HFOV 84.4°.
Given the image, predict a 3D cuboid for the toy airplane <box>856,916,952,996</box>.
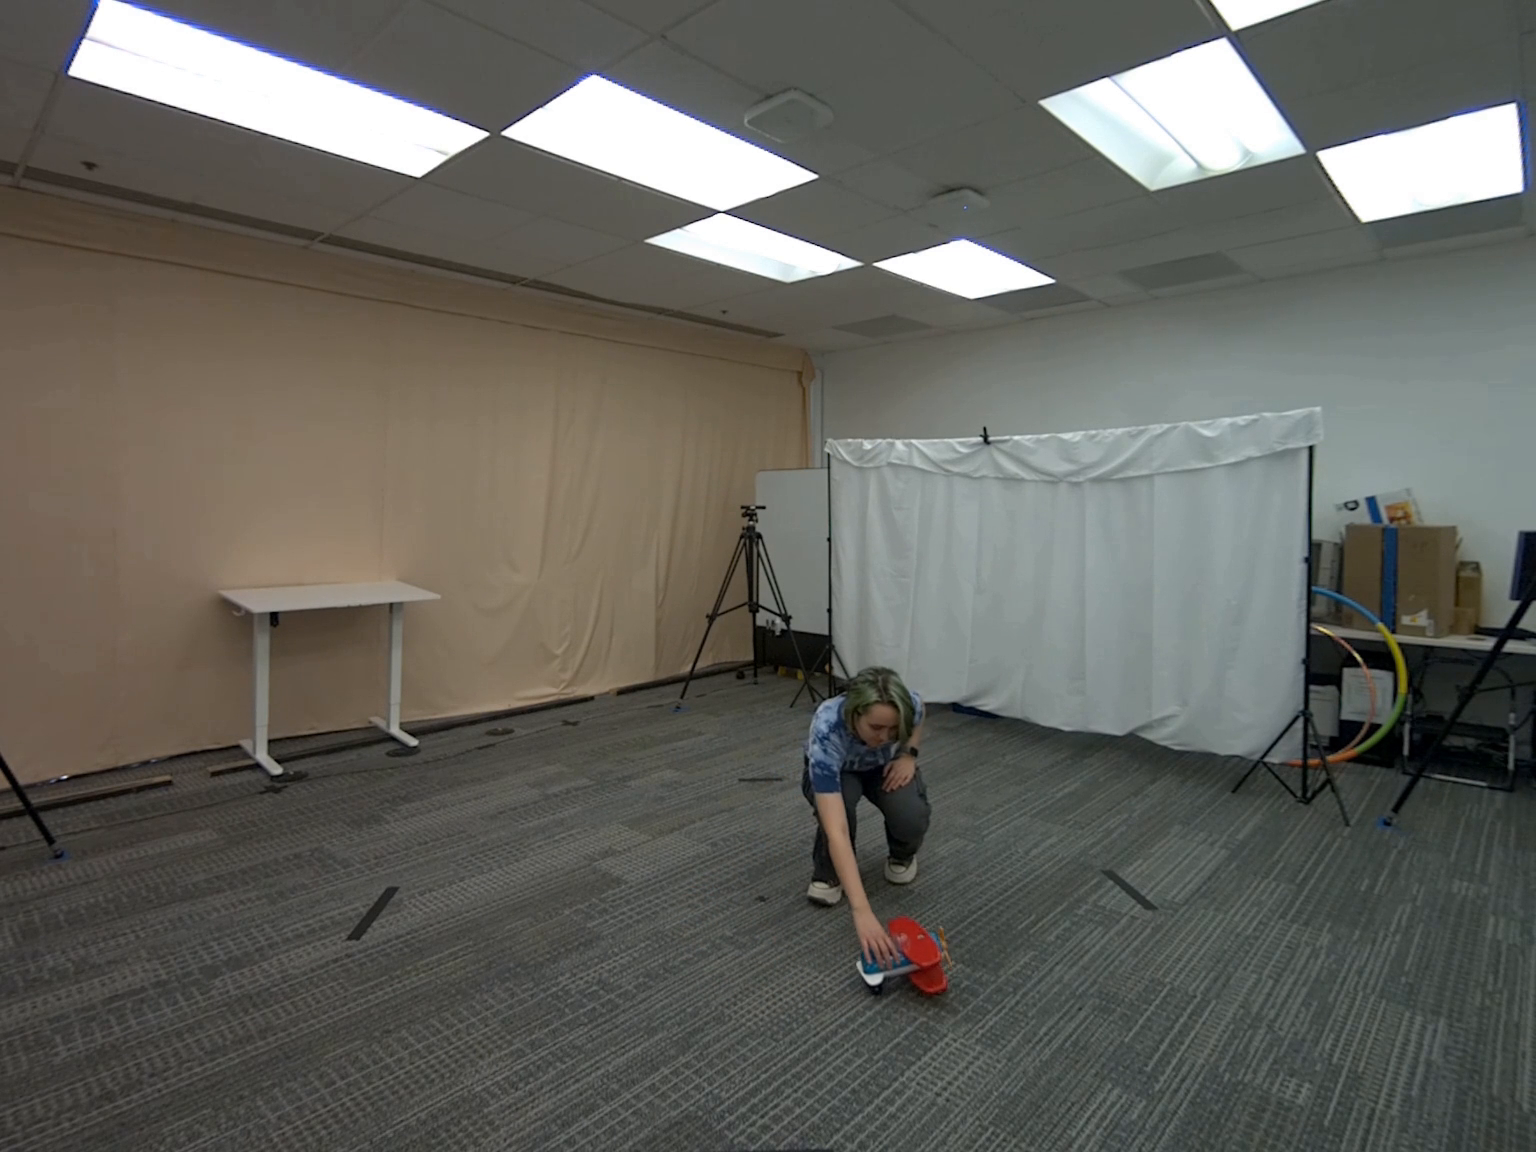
[{"bbox_3d":[0.394,1.115,2.409,0.251,0.156,0.259,-3,6,-38],"label":"toy airplane"}]
